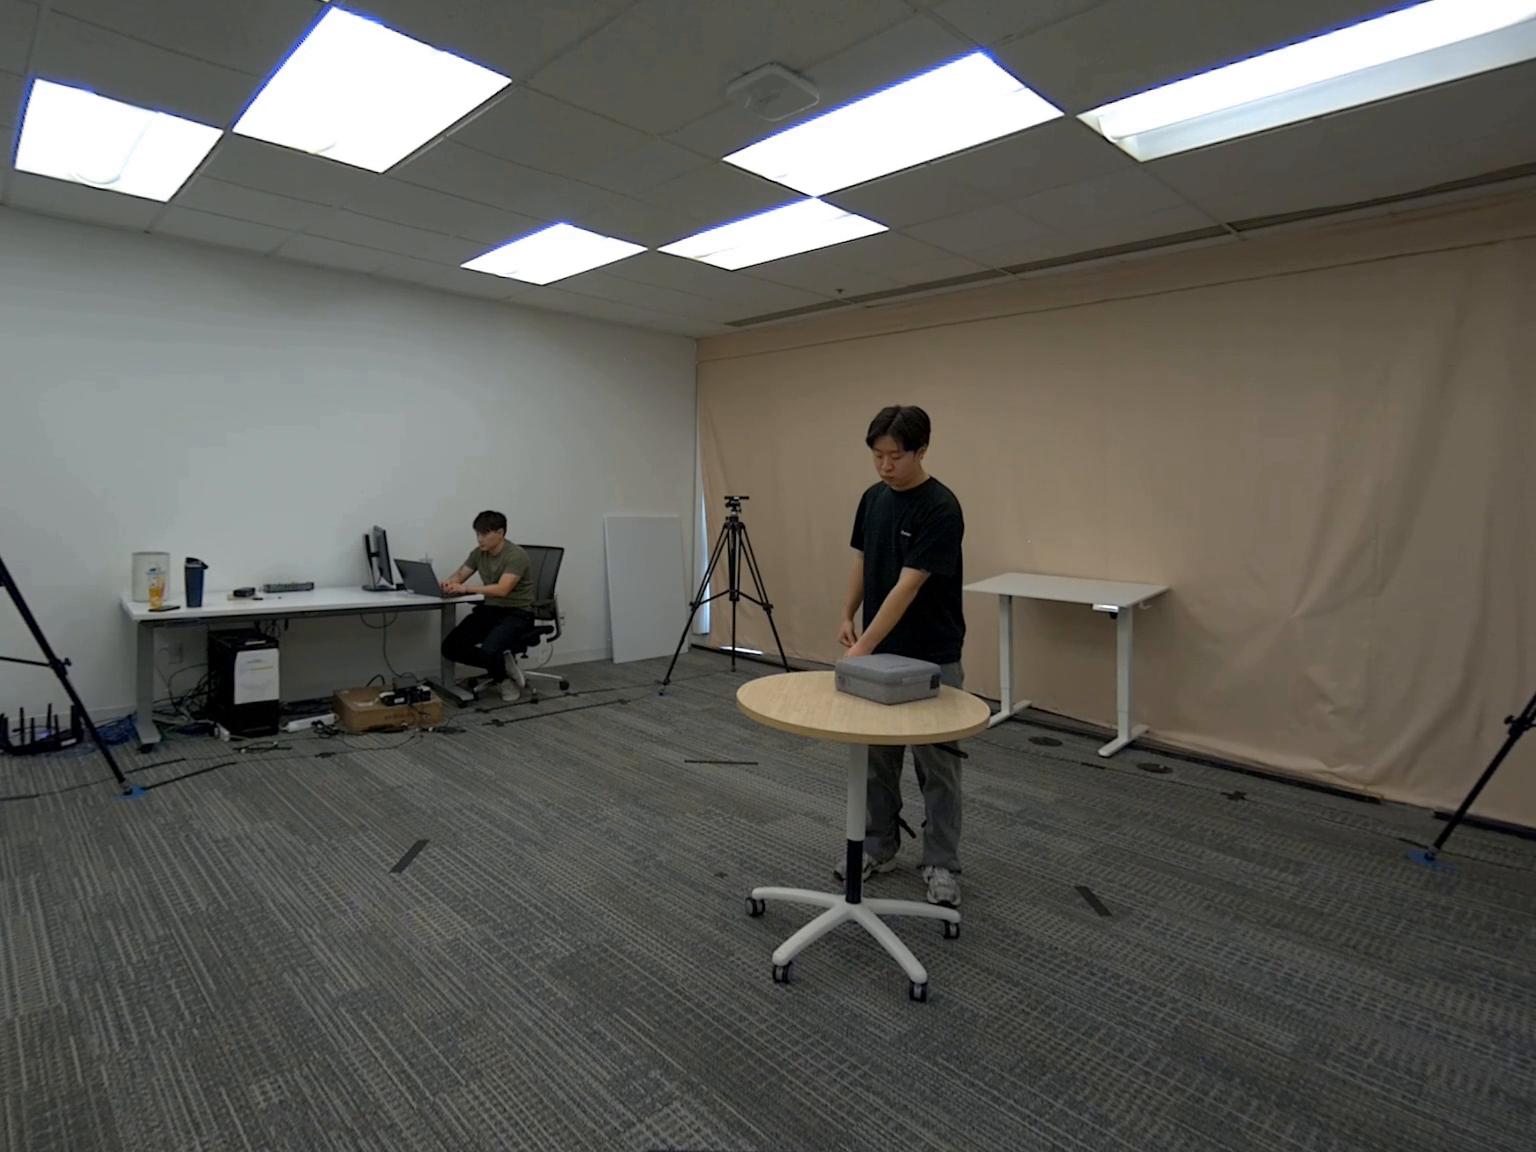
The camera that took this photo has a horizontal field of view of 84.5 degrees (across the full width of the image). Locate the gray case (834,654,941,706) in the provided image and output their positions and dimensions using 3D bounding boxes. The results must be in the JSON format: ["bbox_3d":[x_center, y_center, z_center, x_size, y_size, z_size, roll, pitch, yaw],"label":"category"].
[{"bbox_3d":[0.363,0.322,2.672,0.257,0.103,0.294,-2,5,-35],"label":"gray case"}]
